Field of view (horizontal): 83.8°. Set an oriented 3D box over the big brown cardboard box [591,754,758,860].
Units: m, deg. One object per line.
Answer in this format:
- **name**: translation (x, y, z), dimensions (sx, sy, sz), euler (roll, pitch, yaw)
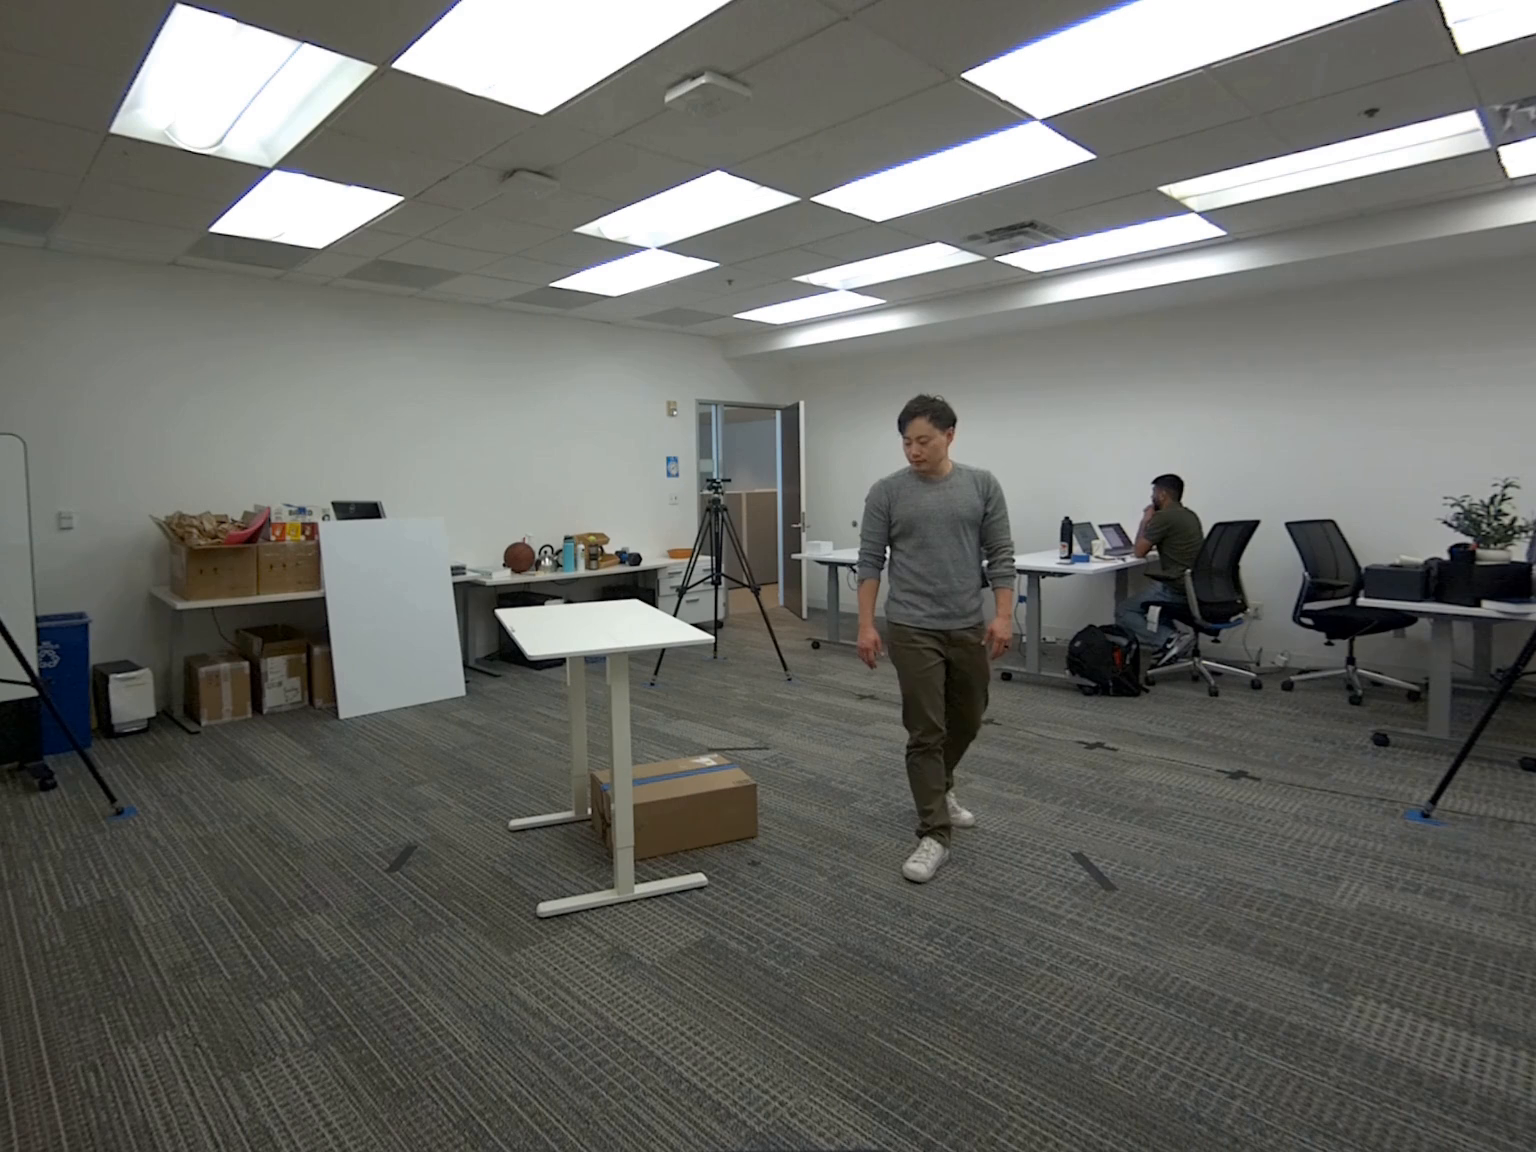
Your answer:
- **big brown cardboard box**: translation (-0.378, 0.902, 3.407), dimensions (0.577, 0.232, 0.428), euler (-5, 7, -25)
